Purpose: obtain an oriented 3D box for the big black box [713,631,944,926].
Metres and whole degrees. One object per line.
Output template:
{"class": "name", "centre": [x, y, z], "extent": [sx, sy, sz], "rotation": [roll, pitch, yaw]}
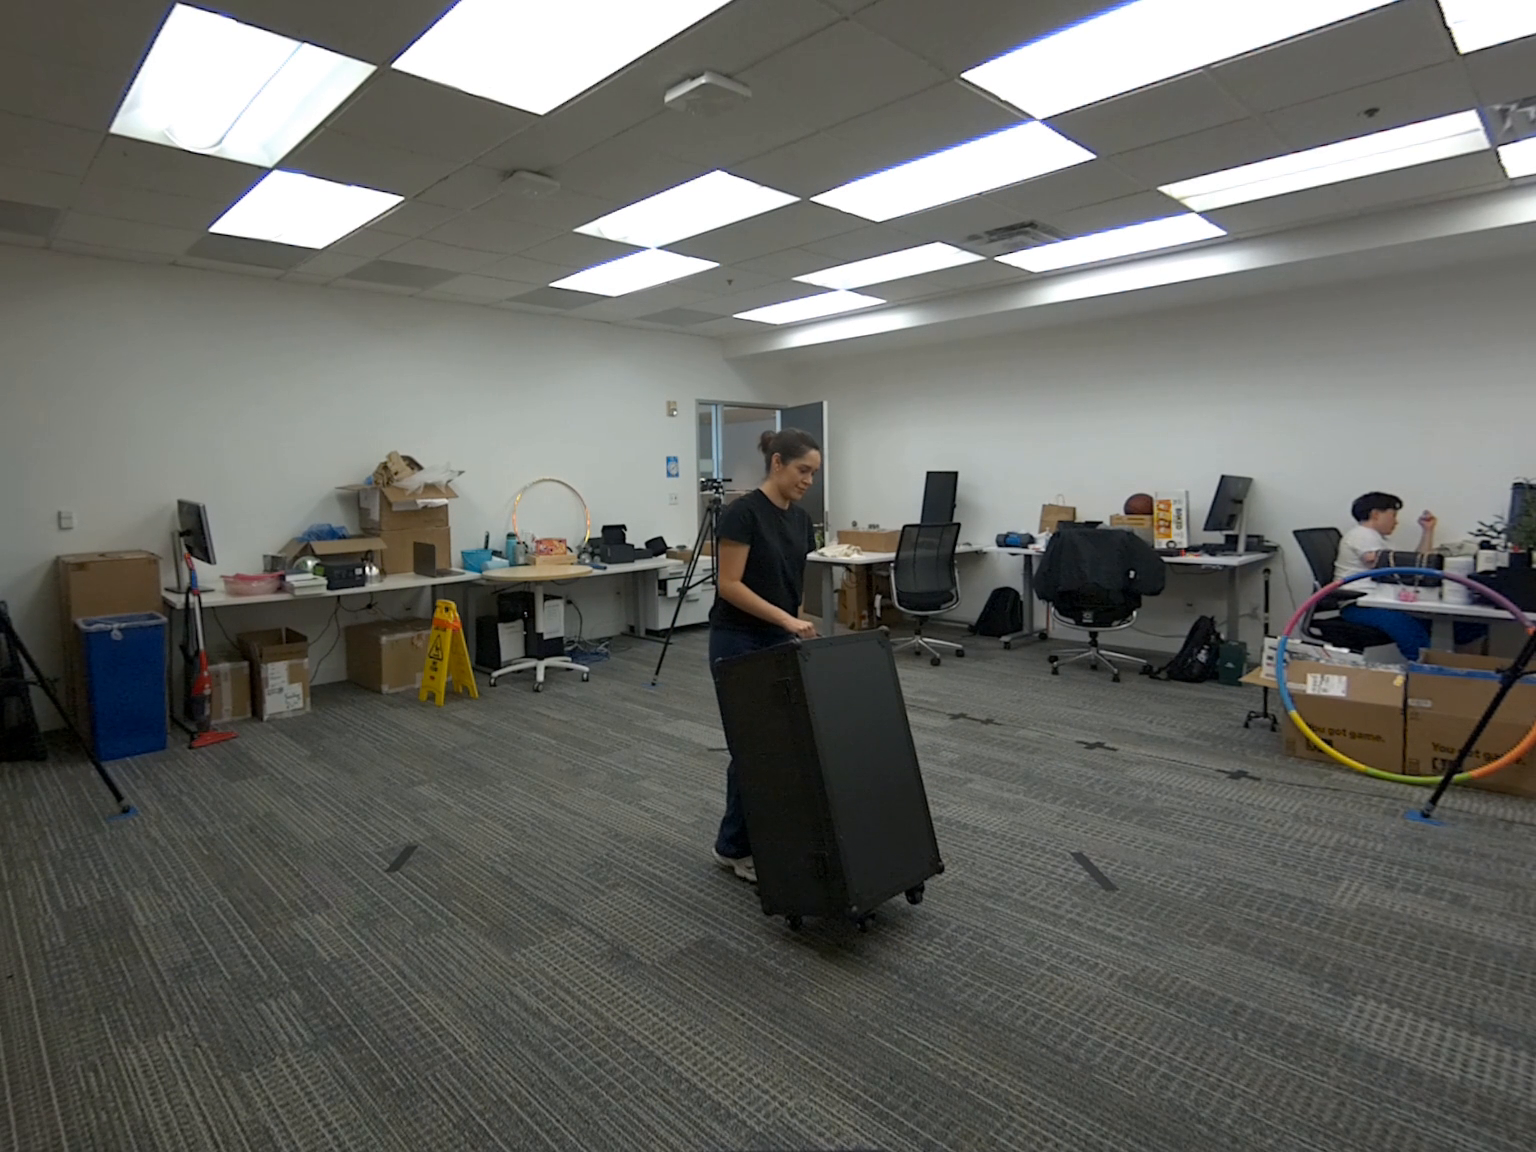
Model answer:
{"class": "big black box", "centre": [0.181, 0.583, 2.752], "extent": [0.506, 0.871, 0.403], "rotation": [-1, -14, -46]}
